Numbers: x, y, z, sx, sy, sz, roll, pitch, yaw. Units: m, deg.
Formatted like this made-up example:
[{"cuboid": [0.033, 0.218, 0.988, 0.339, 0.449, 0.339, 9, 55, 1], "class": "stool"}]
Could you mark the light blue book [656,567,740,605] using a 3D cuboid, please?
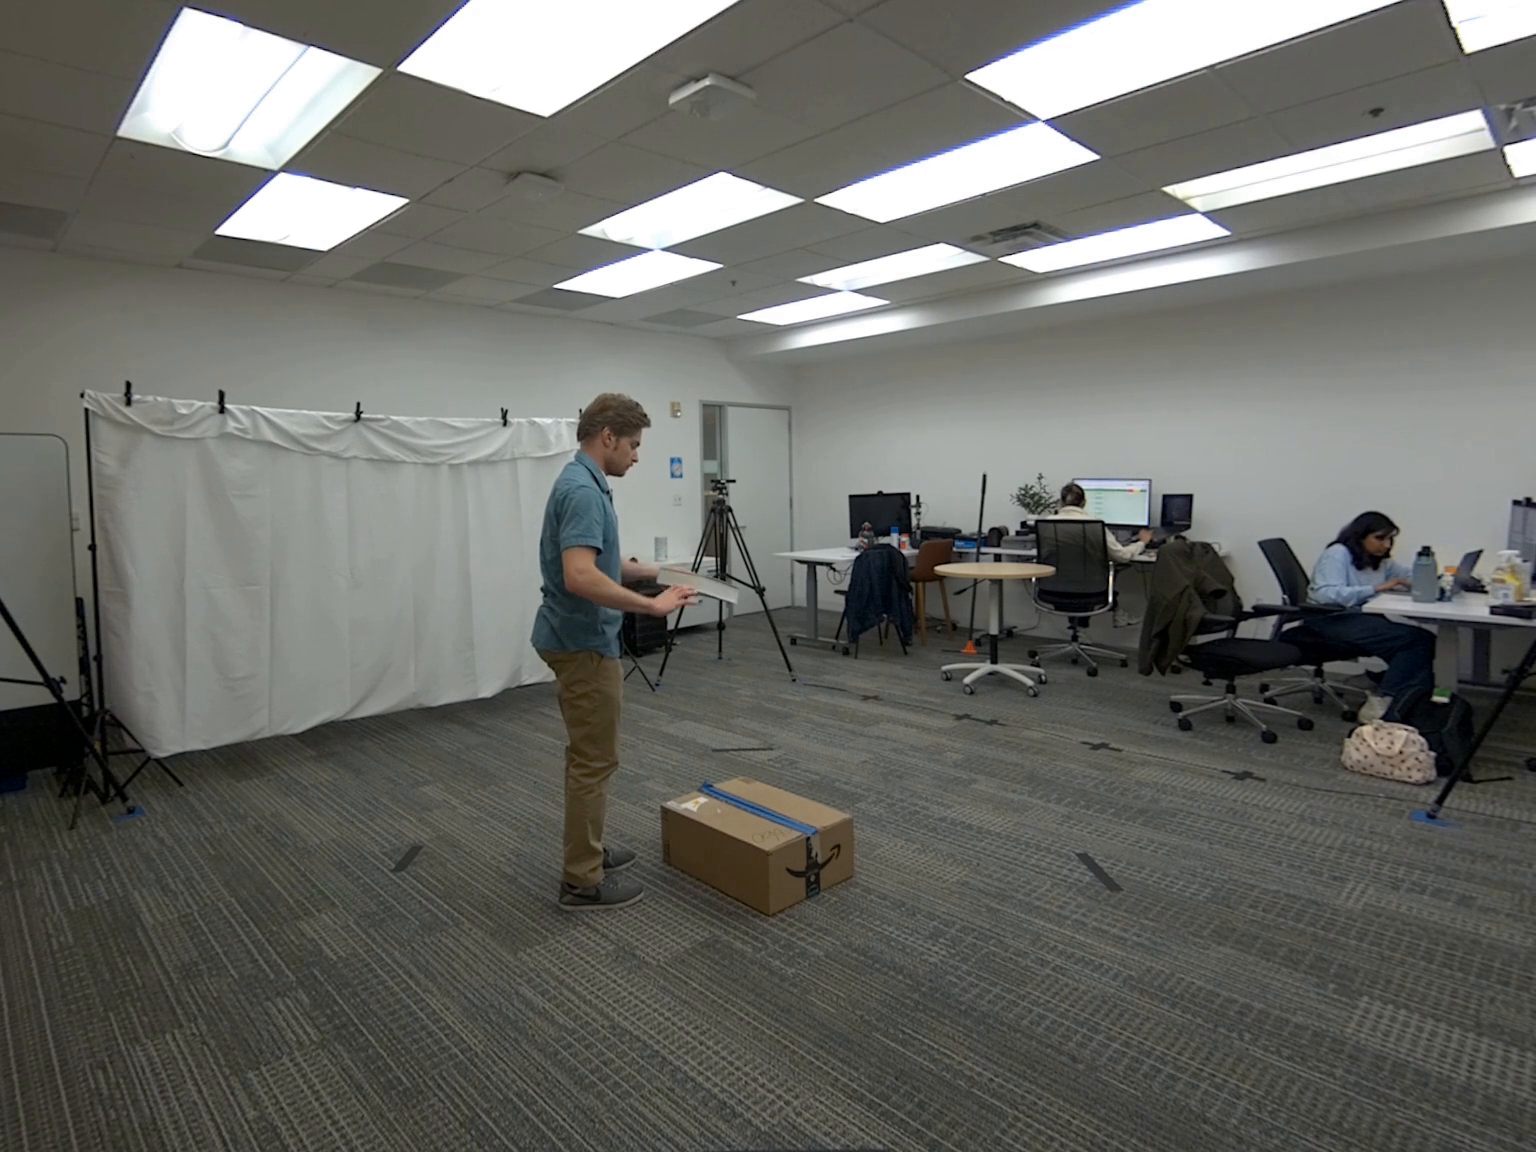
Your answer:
[{"cuboid": [-0.255, 0.035, 2.978, 0.197, 0.059, 0.252, 13, -2, 31], "class": "light blue book"}]
